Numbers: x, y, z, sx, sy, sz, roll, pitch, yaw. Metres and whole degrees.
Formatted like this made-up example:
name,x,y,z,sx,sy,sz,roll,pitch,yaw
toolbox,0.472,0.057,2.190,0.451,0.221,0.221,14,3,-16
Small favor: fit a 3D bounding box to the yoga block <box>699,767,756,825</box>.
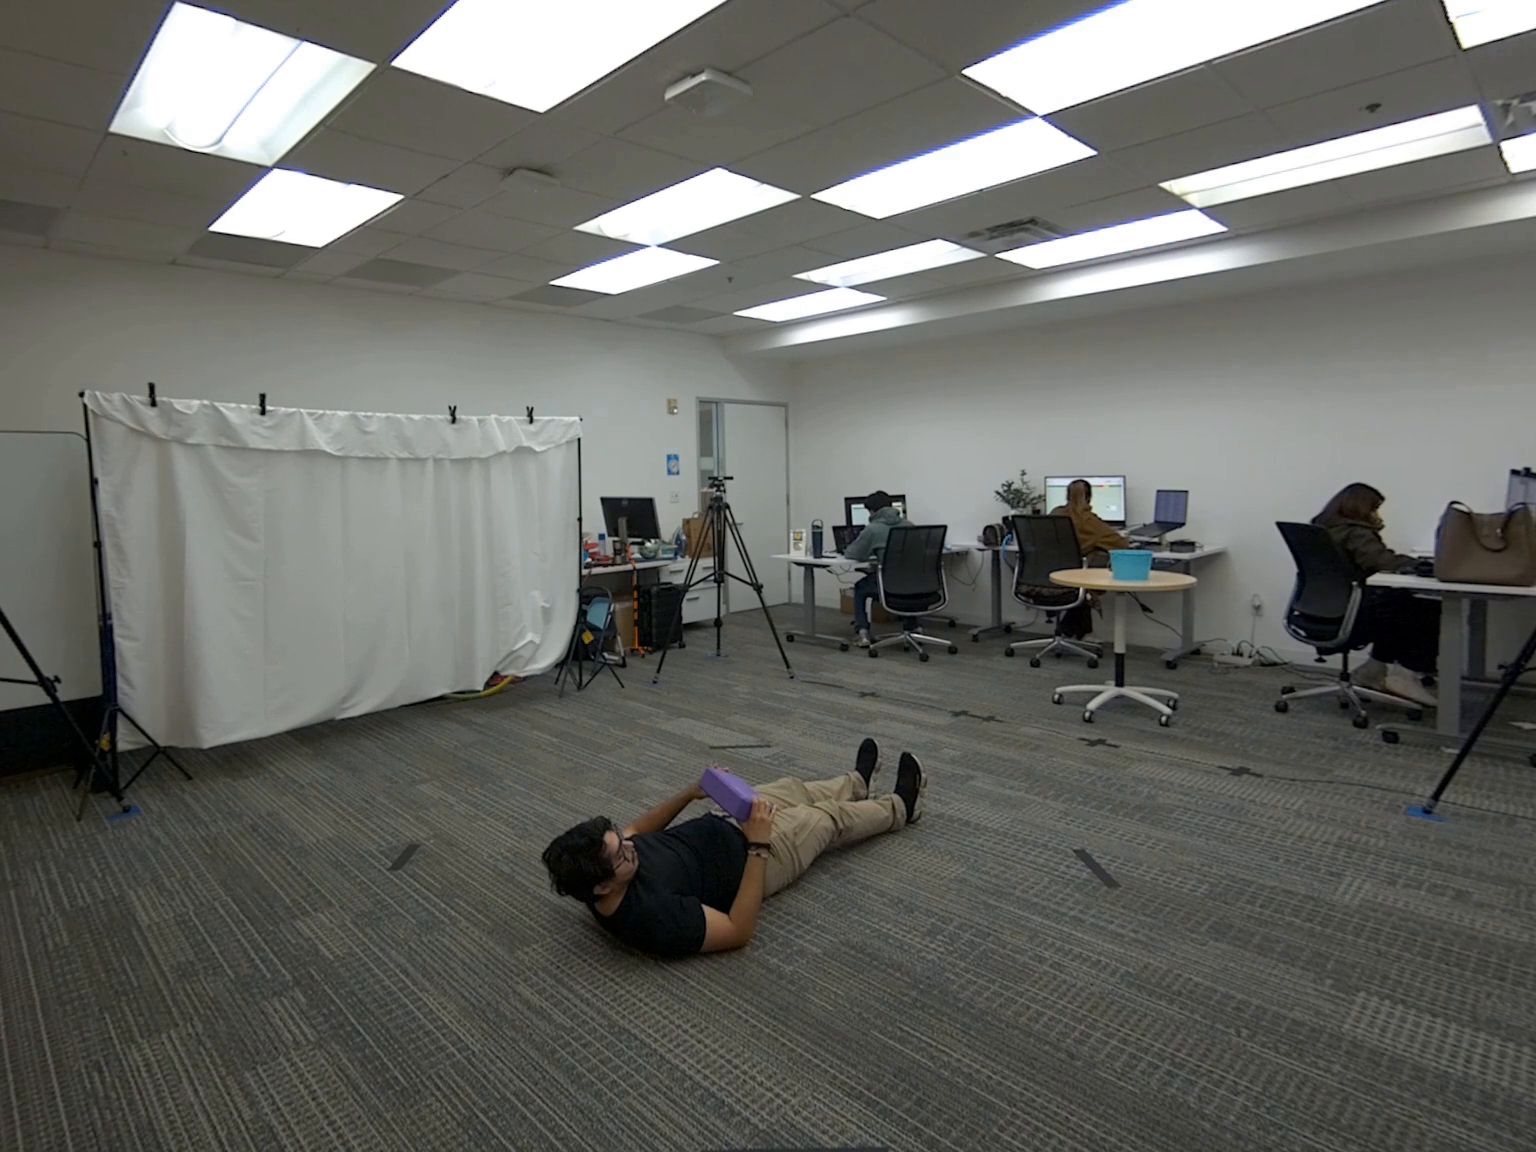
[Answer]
name,x,y,z,sx,sy,sz,roll,pitch,yaw
yoga block,-0.082,0.714,2.751,0.144,0.076,0.237,29,-1,-35
